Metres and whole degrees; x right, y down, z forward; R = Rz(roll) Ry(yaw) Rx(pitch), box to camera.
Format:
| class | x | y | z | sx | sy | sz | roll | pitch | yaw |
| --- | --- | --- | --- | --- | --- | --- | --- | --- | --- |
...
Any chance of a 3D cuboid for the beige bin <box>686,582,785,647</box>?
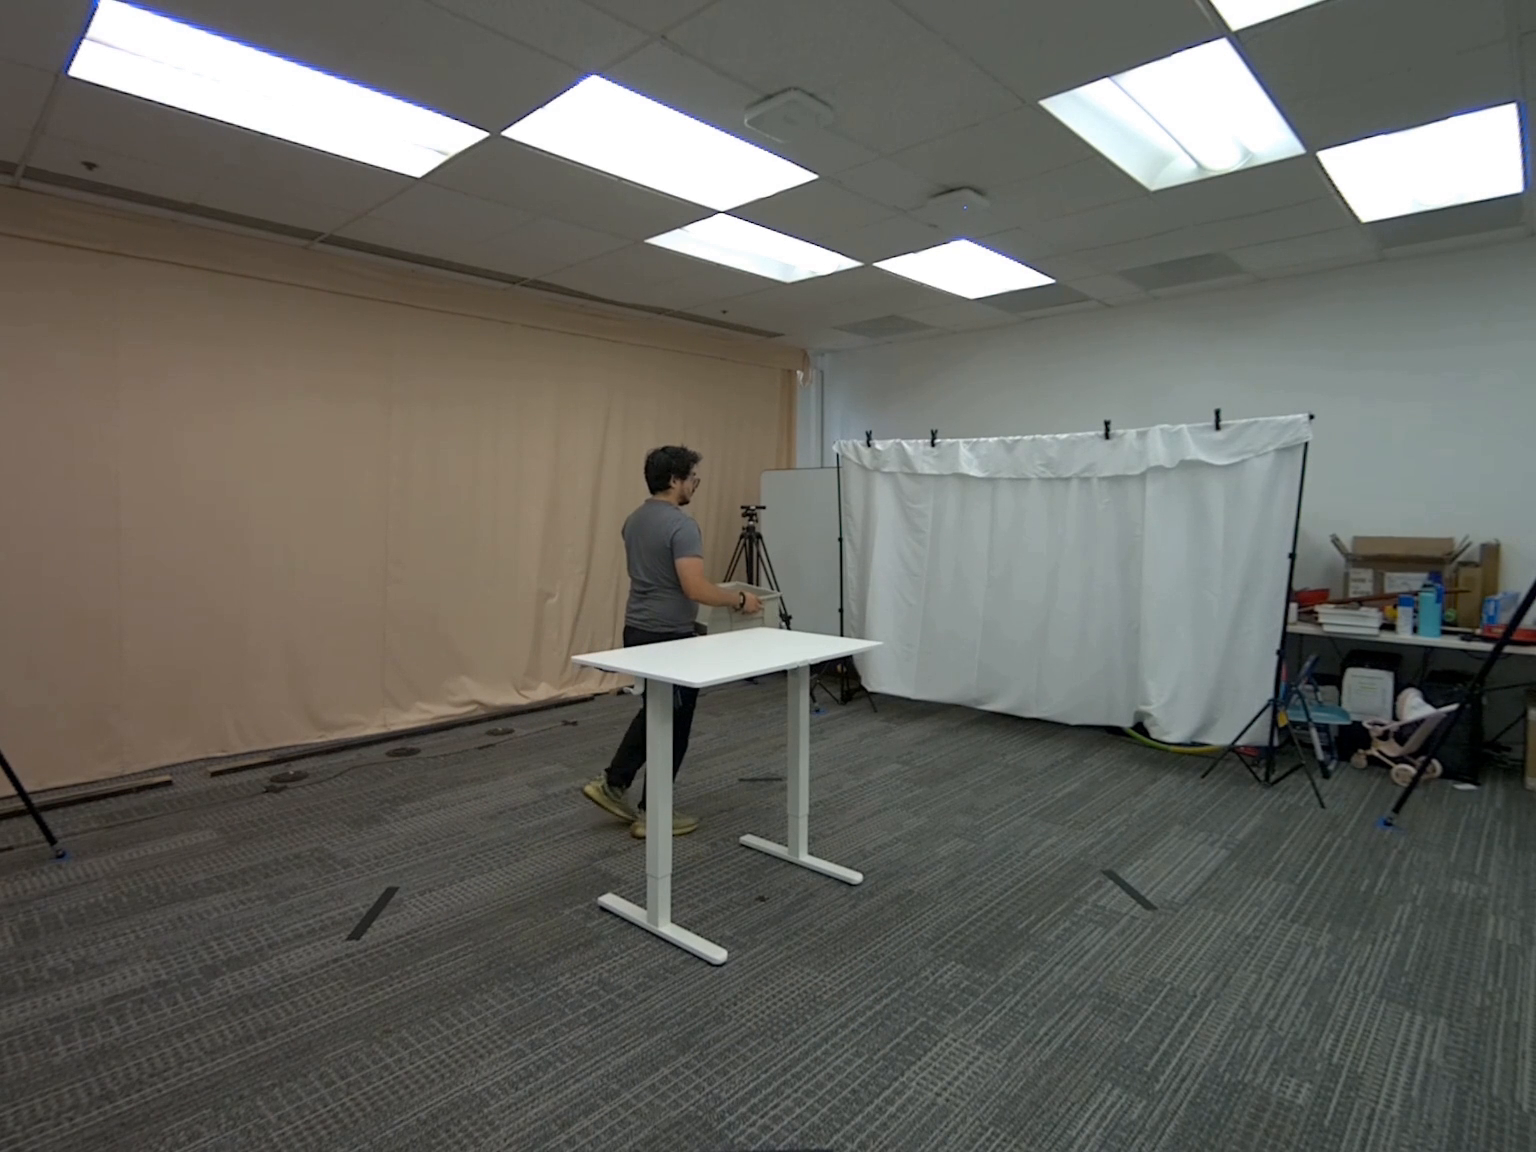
| class | x | y | z | sx | sy | sz | roll | pitch | yaw |
| --- | --- | --- | --- | --- | --- | --- | --- | --- | --- |
| beige bin | -0.200 | 0.161 | 3.803 | 0.368 | 0.188 | 0.434 | -6 | 8 | -27 |
